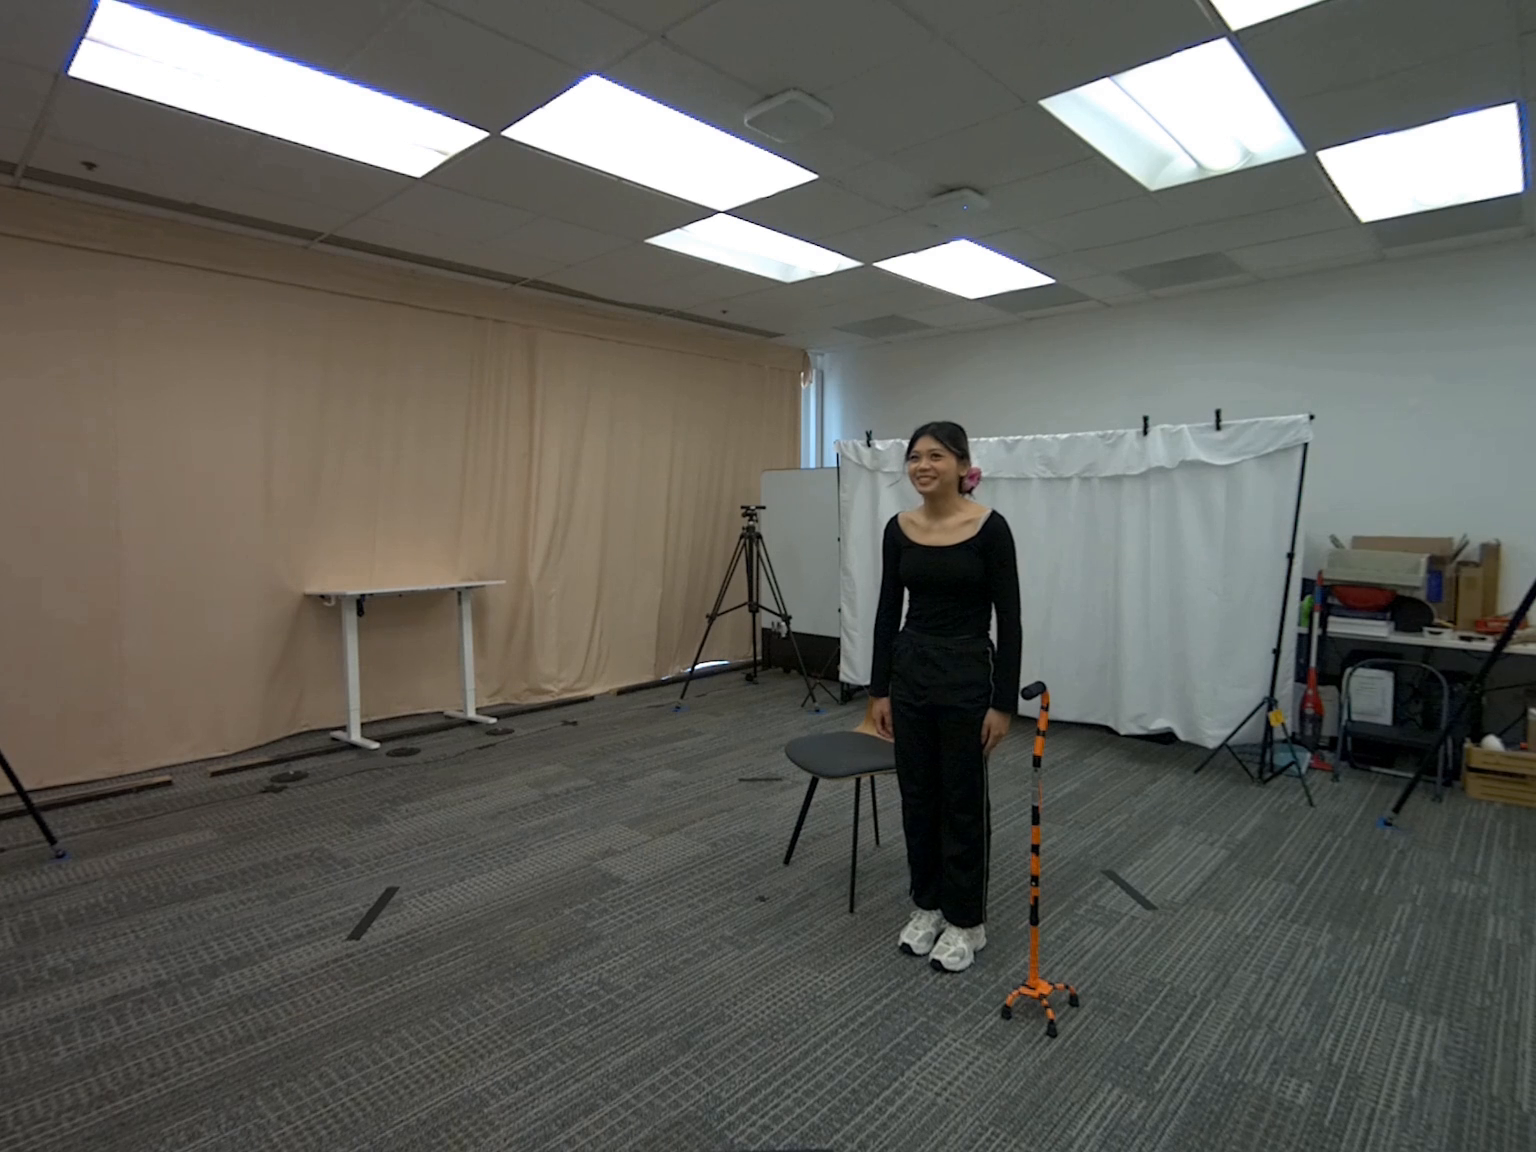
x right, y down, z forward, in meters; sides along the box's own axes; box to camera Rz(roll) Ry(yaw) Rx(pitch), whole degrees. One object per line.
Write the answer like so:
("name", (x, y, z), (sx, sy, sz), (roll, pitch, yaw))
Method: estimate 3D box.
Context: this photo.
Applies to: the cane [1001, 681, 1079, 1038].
("cane", (0.746, 0.744, 2.301), (0.156, 0.906, 0.200), (1, 3, 39))
